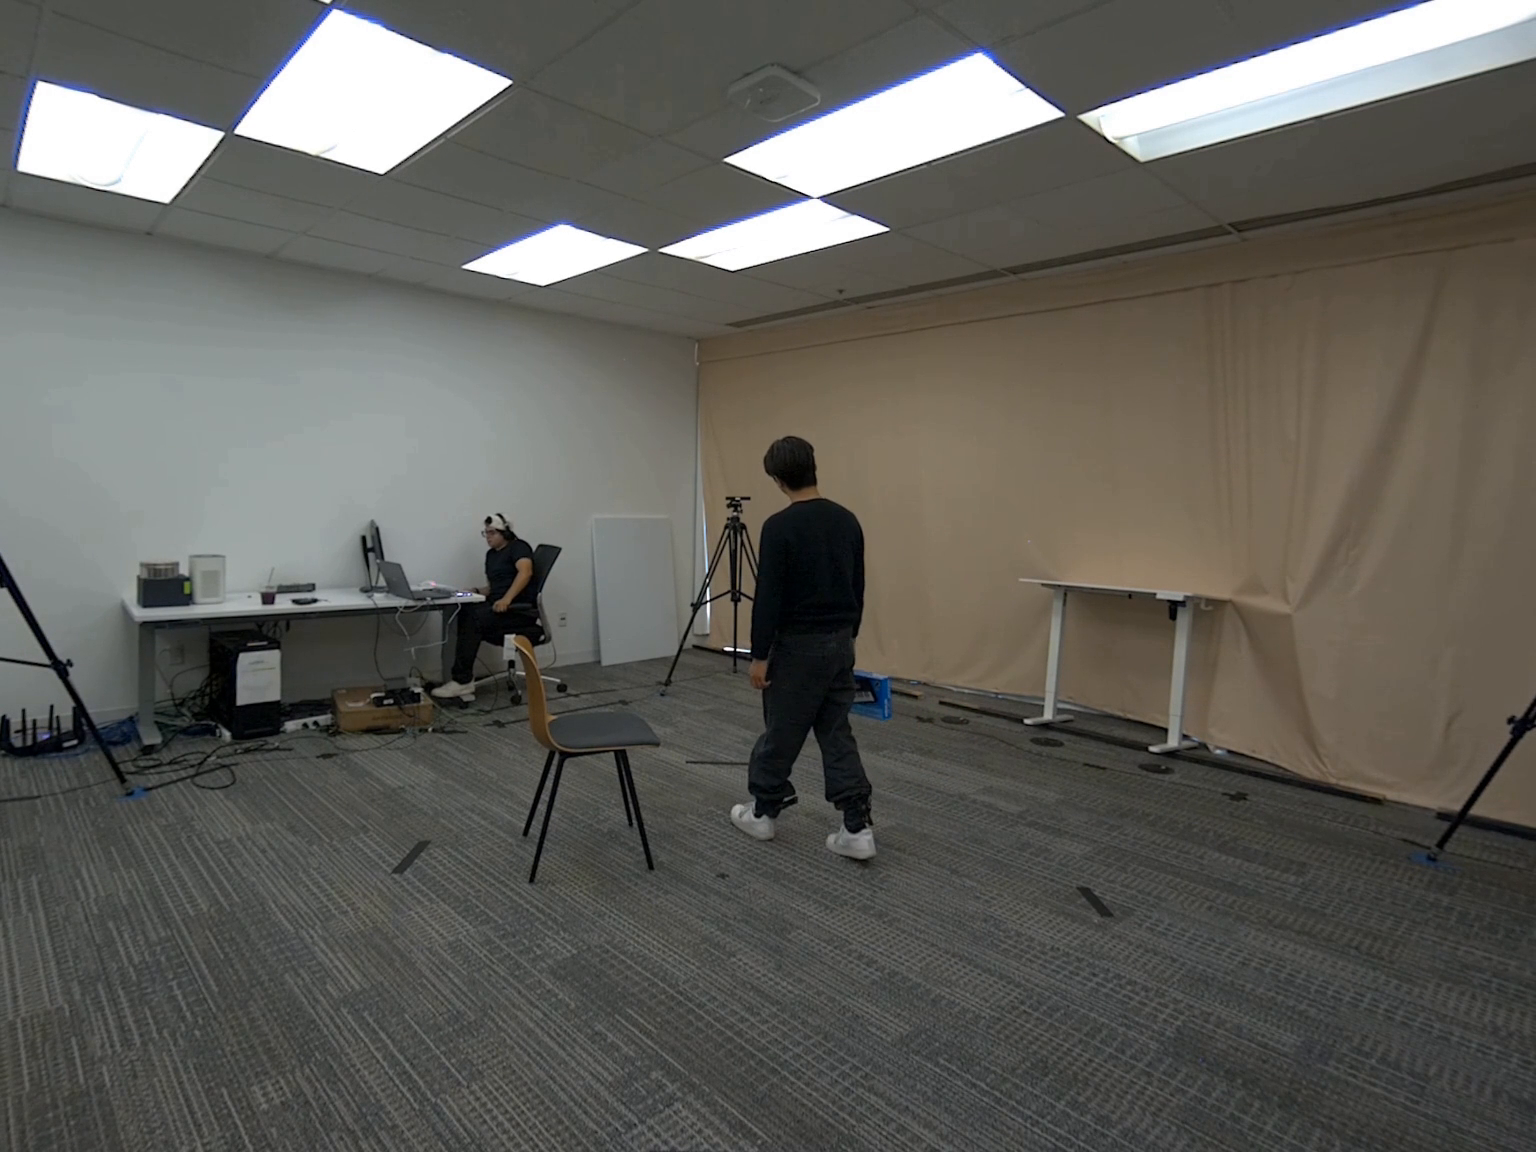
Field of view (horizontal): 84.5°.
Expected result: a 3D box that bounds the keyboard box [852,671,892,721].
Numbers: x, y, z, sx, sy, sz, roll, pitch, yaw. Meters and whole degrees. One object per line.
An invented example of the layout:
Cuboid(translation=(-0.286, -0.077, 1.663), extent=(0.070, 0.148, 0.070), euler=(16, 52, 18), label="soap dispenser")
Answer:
Cuboid(translation=(0.330, 0.493, 3.614), extent=(0.058, 0.175, 0.448), euler=(-6, 7, -42), label="keyboard box")
